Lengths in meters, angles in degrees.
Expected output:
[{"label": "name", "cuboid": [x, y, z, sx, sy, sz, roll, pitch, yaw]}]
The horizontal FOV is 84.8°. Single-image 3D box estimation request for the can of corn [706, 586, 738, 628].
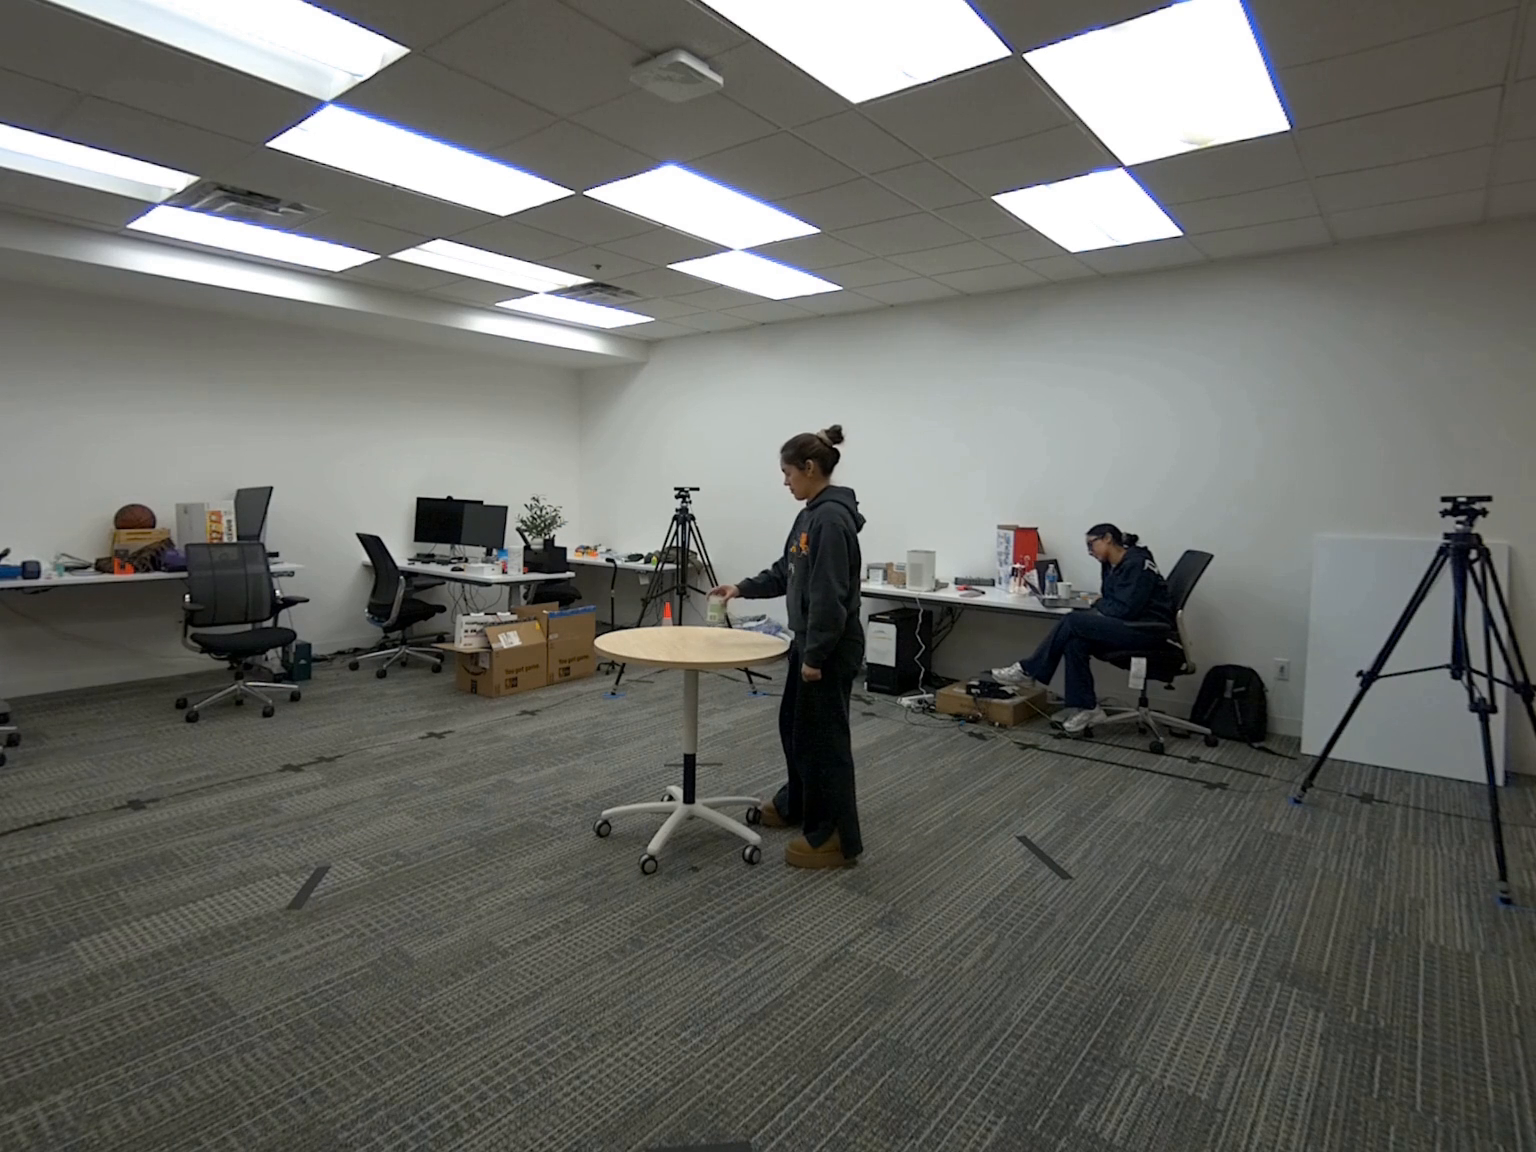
[{"label": "can of corn", "cuboid": [-0.195, 0.138, 3.375, 0.074, 0.111, 0.074, 4, 2, -2]}]
